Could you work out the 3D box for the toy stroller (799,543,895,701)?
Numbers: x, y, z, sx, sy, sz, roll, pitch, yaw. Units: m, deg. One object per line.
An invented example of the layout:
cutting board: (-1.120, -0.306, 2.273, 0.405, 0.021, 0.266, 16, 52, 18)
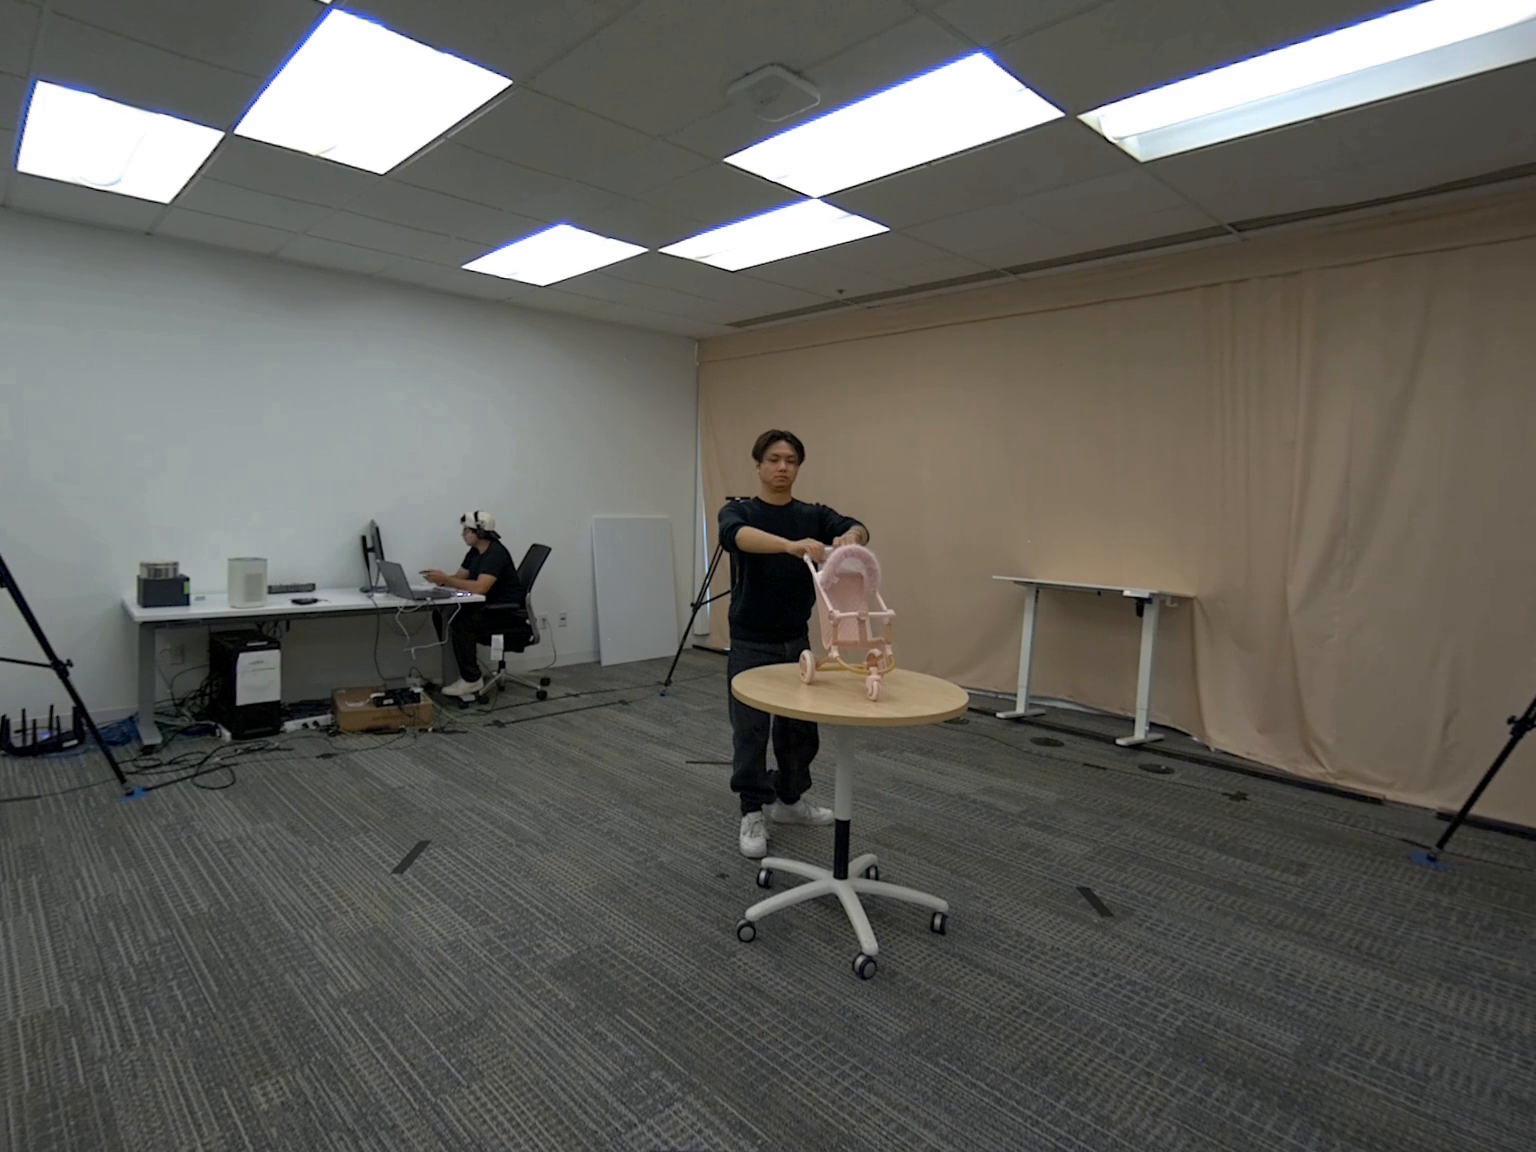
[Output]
toy stroller: (0.269, 0.144, 2.736, 0.278, 0.539, 0.342, 1, -10, -14)
